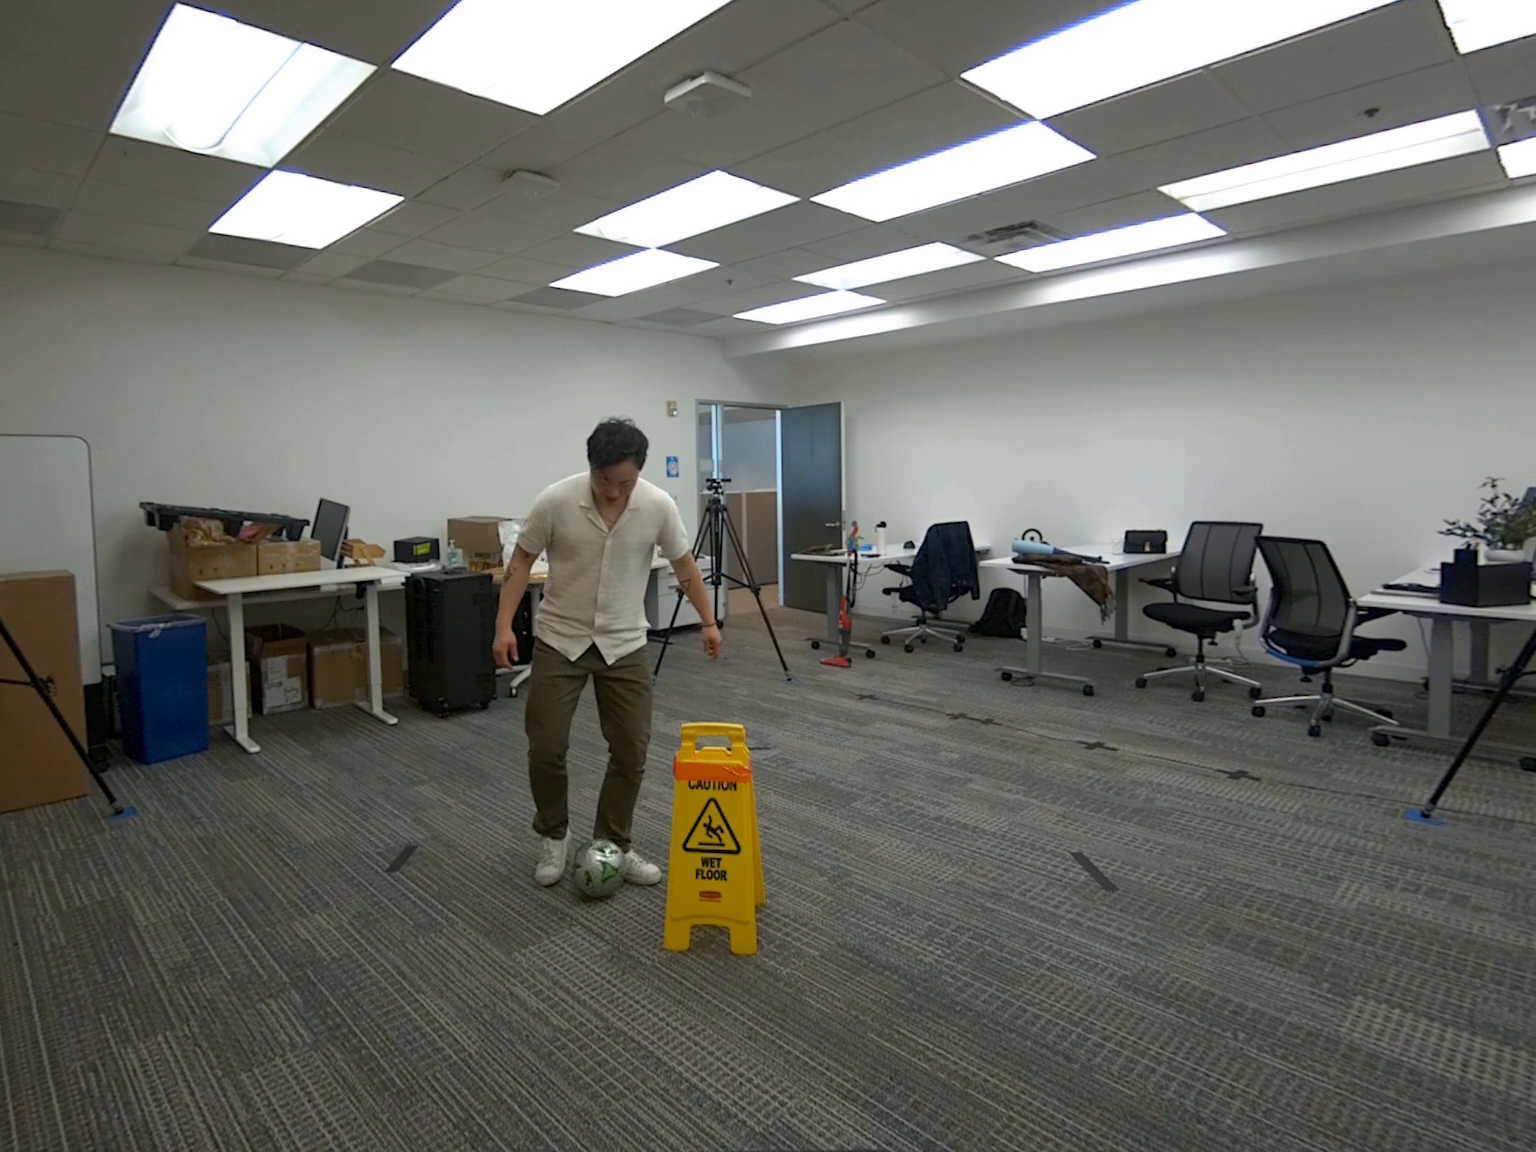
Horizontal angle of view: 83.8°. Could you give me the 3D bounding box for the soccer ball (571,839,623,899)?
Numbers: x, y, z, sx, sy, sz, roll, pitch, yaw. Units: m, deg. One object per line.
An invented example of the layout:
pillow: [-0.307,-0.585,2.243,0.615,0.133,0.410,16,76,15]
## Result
soccer ball: [-0.574,0.994,2.889,0.187,0.187,0.188,-1,5,-2]
